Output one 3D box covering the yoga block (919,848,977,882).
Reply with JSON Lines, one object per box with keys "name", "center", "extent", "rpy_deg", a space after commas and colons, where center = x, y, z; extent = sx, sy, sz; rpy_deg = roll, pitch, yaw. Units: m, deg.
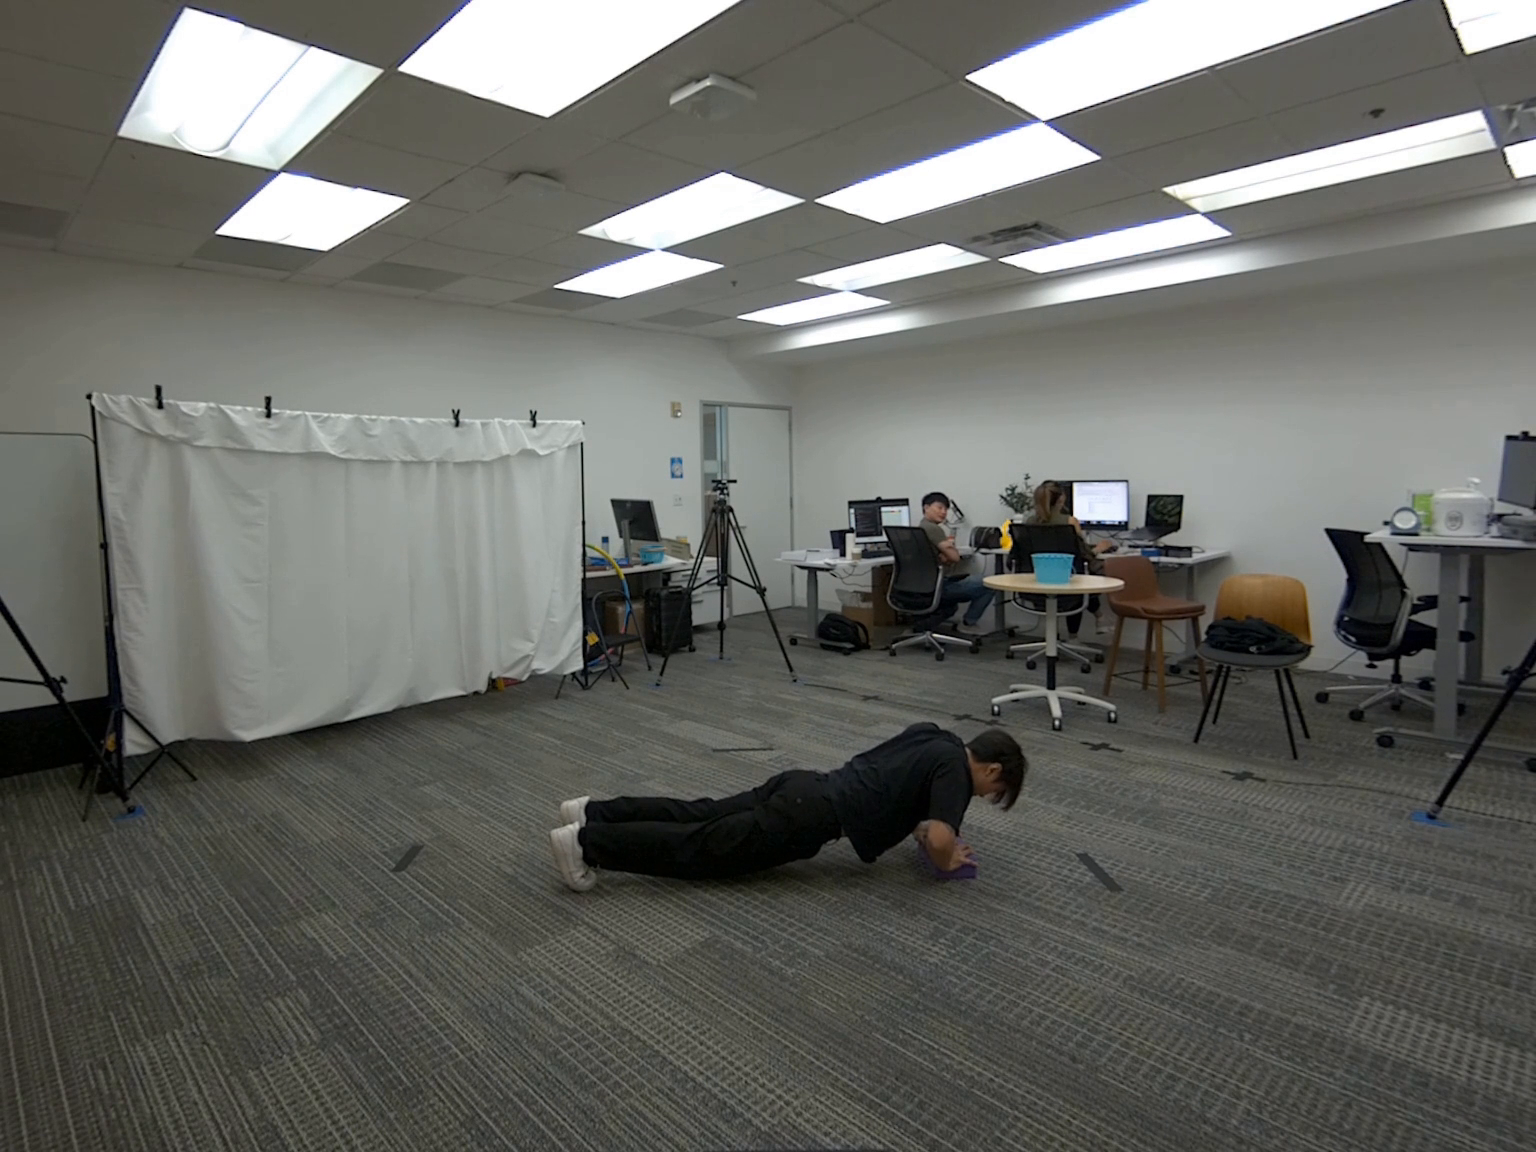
{"name": "yoga block", "center": [0.642, 0.995, 3.070], "extent": [0.148, 0.076, 0.231], "rpy_deg": [3, 5, -4]}
